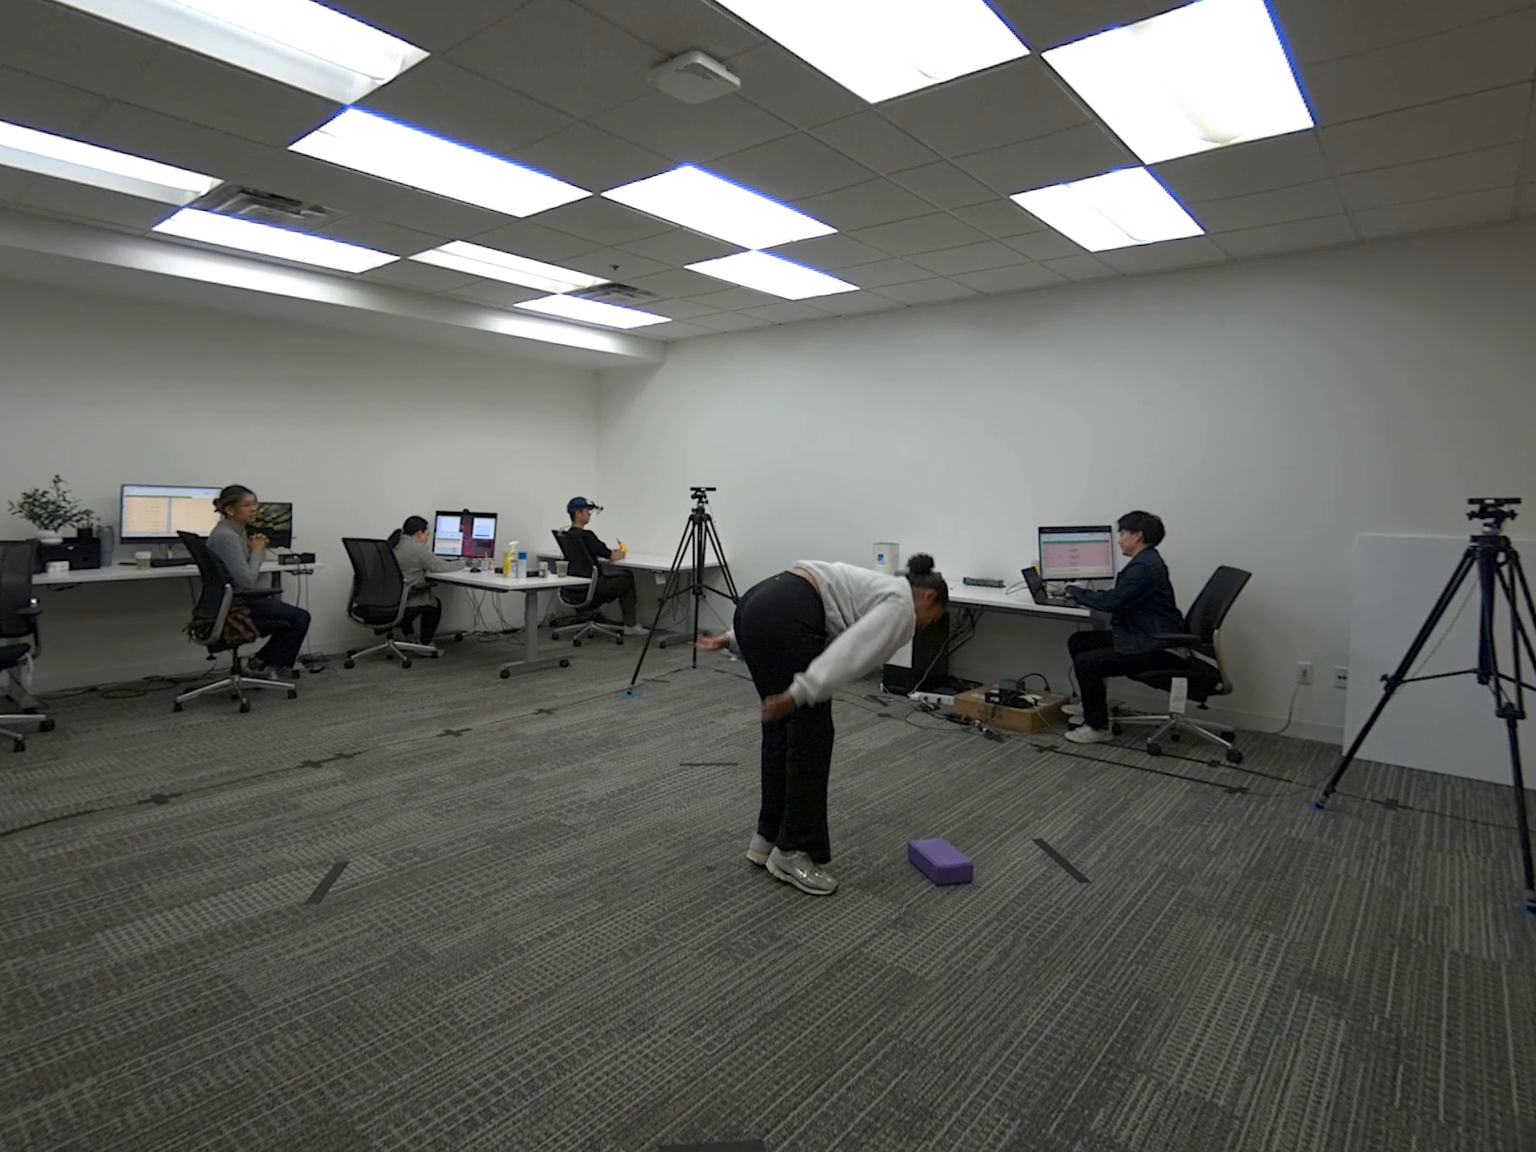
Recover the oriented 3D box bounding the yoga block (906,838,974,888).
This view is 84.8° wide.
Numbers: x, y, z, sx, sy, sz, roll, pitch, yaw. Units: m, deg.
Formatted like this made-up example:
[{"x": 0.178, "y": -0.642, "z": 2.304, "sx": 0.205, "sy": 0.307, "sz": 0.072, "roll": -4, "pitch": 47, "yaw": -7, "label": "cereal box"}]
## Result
[{"x": 0.627, "y": 1.049, "z": 3.129, "sx": 0.146, "sy": 0.076, "sz": 0.234, "roll": -1, "pitch": 5, "yaw": -17, "label": "yoga block"}]
